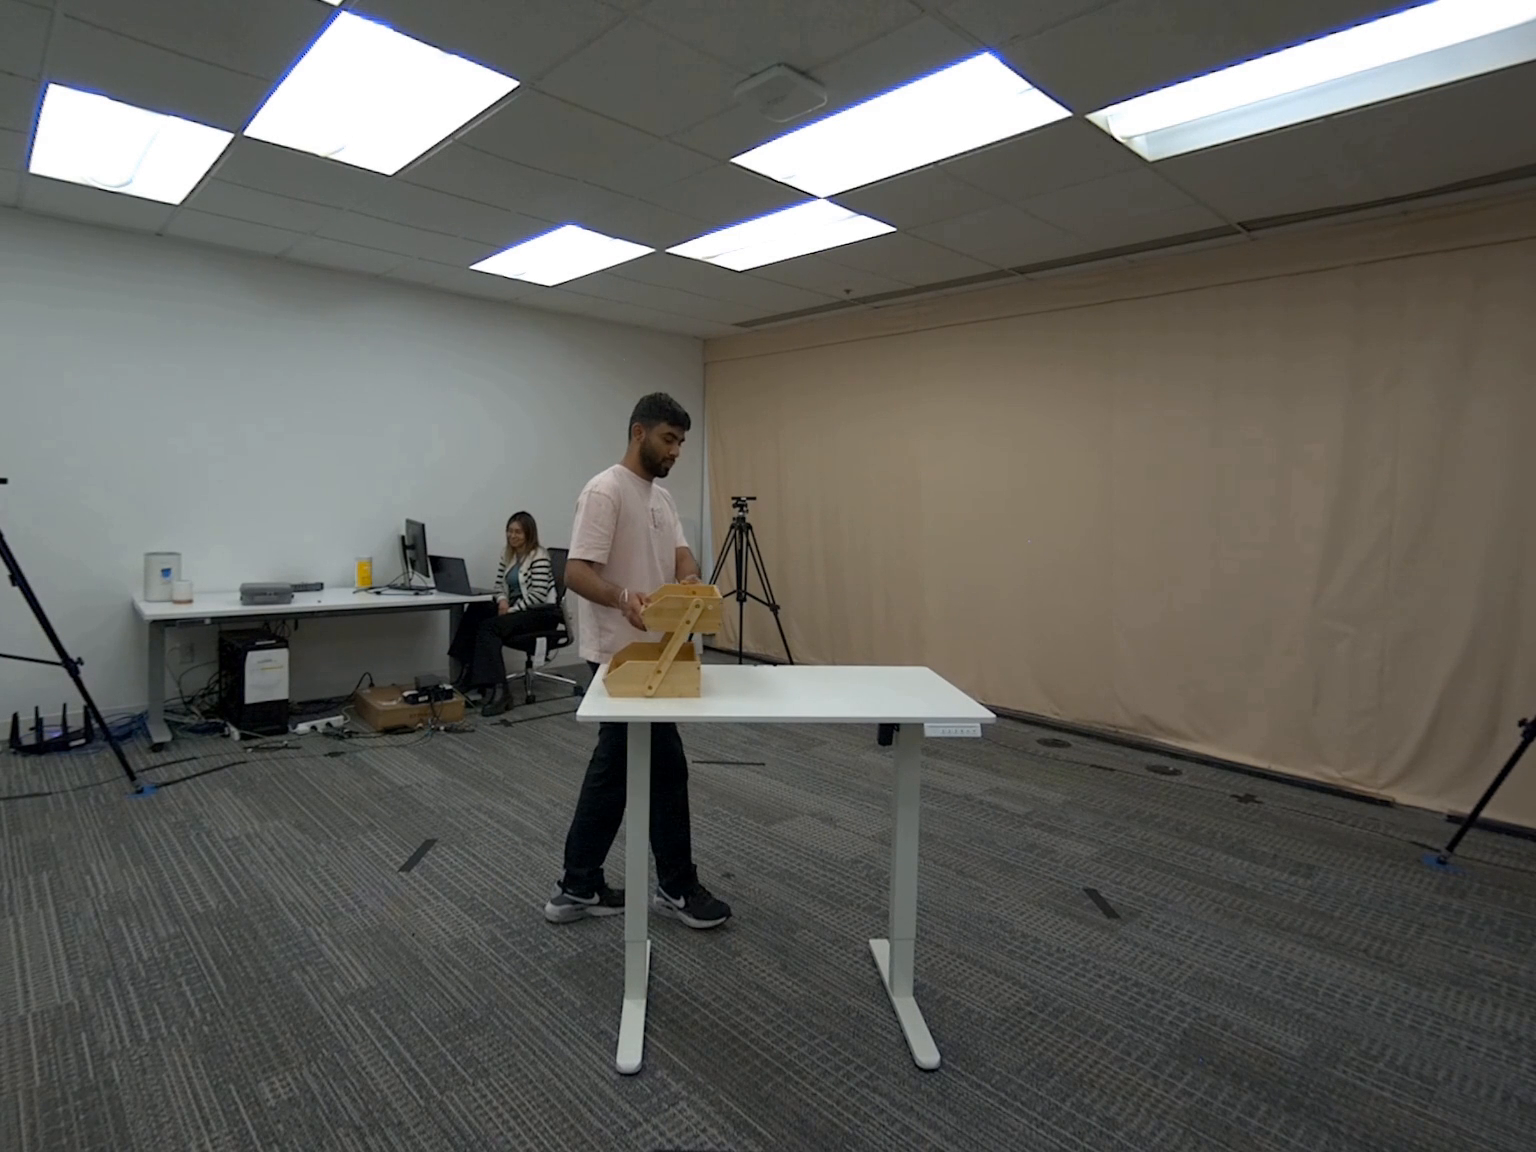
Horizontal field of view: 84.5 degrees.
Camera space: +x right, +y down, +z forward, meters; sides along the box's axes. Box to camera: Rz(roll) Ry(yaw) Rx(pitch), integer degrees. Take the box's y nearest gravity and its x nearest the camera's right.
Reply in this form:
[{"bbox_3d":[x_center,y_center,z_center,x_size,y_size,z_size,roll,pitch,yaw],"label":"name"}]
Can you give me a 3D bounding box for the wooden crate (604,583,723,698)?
[{"bbox_3d":[-0.296,0.172,2.268,0.300,0.272,0.327,1,4,-6],"label":"wooden crate"}]
